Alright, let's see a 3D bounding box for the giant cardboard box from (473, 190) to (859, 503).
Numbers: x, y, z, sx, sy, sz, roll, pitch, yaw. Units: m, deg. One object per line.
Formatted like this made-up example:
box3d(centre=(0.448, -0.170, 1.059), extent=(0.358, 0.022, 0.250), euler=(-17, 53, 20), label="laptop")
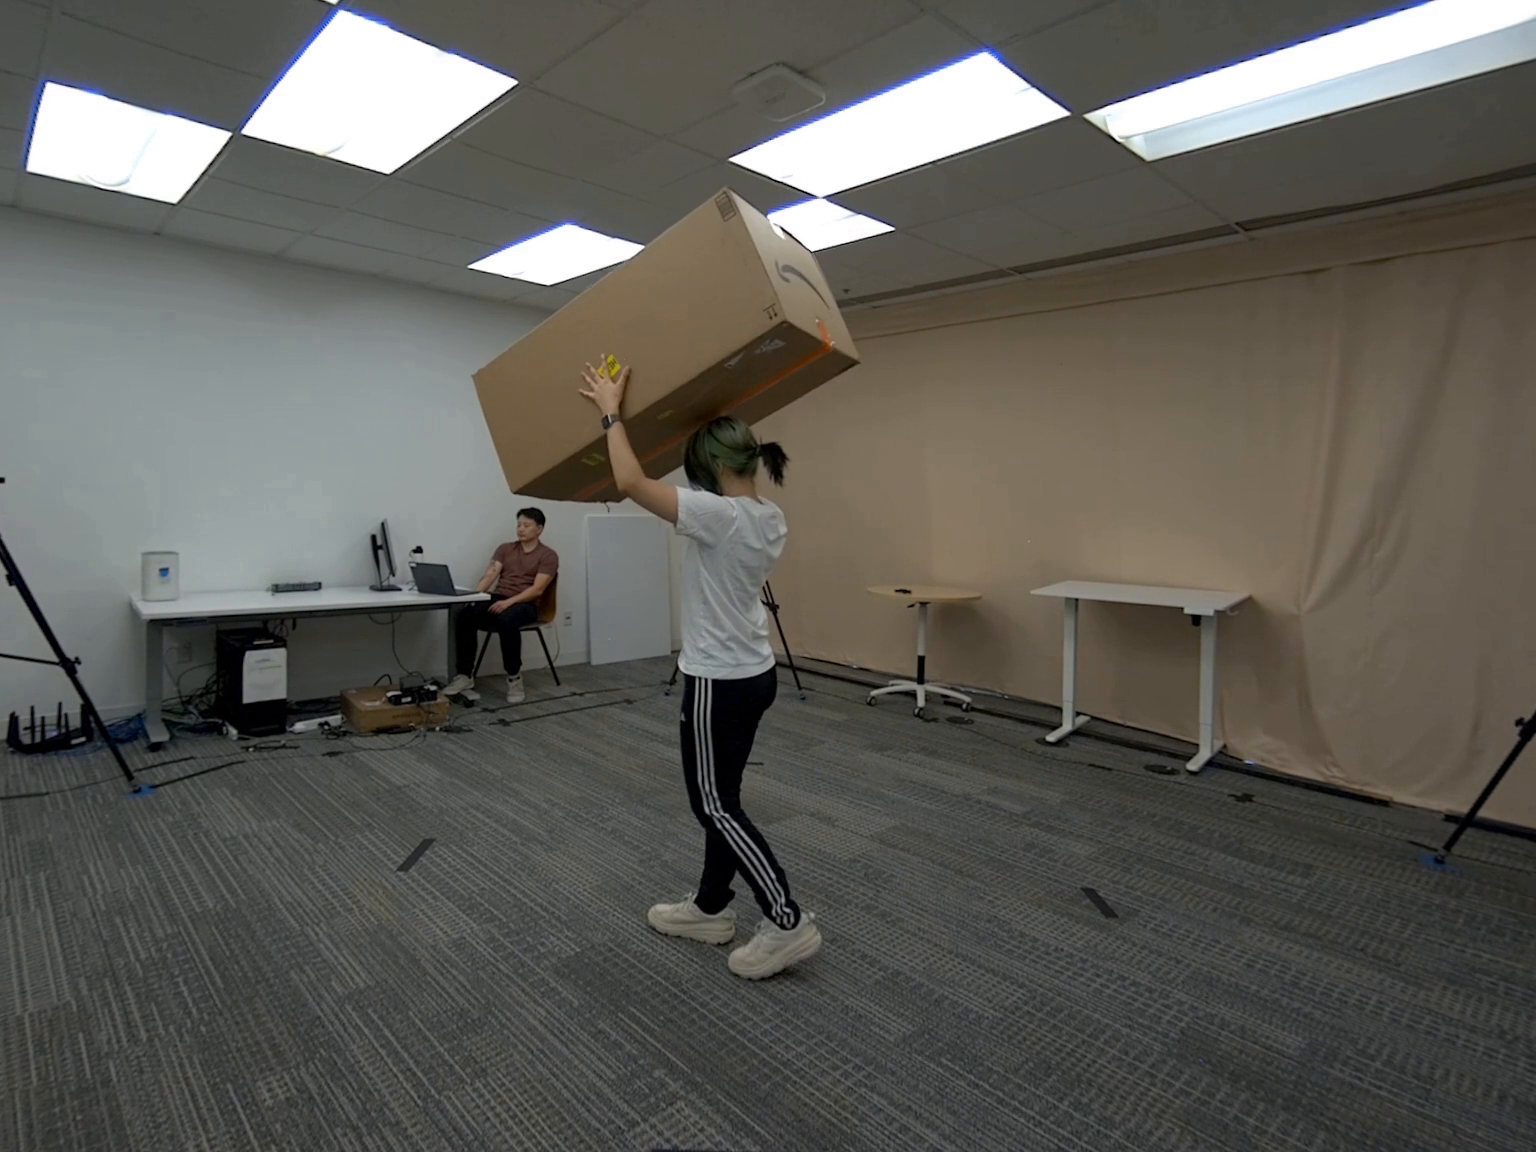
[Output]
box3d(centre=(-0.327, -0.649, 2.659), extent=(1.035, 0.451, 0.573), euler=(-27, -10, 25), label="giant cardboard box")
